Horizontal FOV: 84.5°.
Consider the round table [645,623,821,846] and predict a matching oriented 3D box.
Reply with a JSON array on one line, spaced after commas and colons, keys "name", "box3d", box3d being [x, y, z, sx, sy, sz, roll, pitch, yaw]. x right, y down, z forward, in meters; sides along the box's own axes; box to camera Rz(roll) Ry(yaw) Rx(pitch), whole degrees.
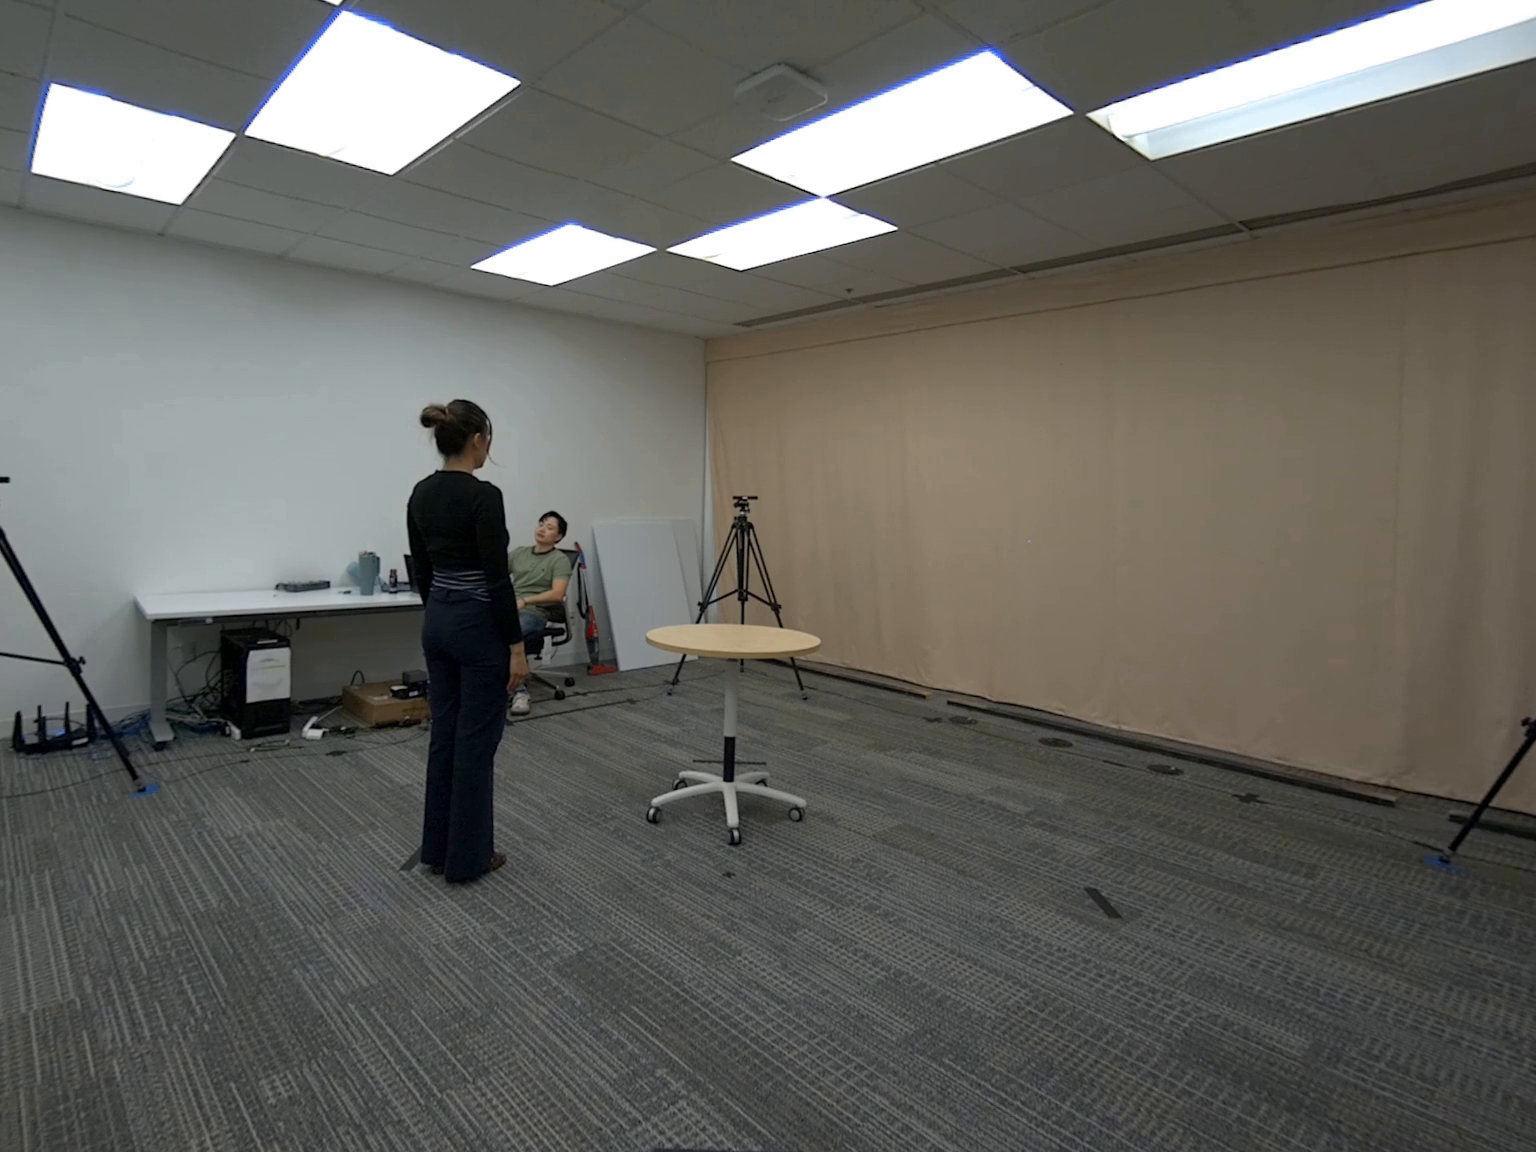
[{"name": "round table", "box3d": [-0.178, 0.661, 3.713, 0.763, 0.792, 0.766, 2, 4, -2]}]
